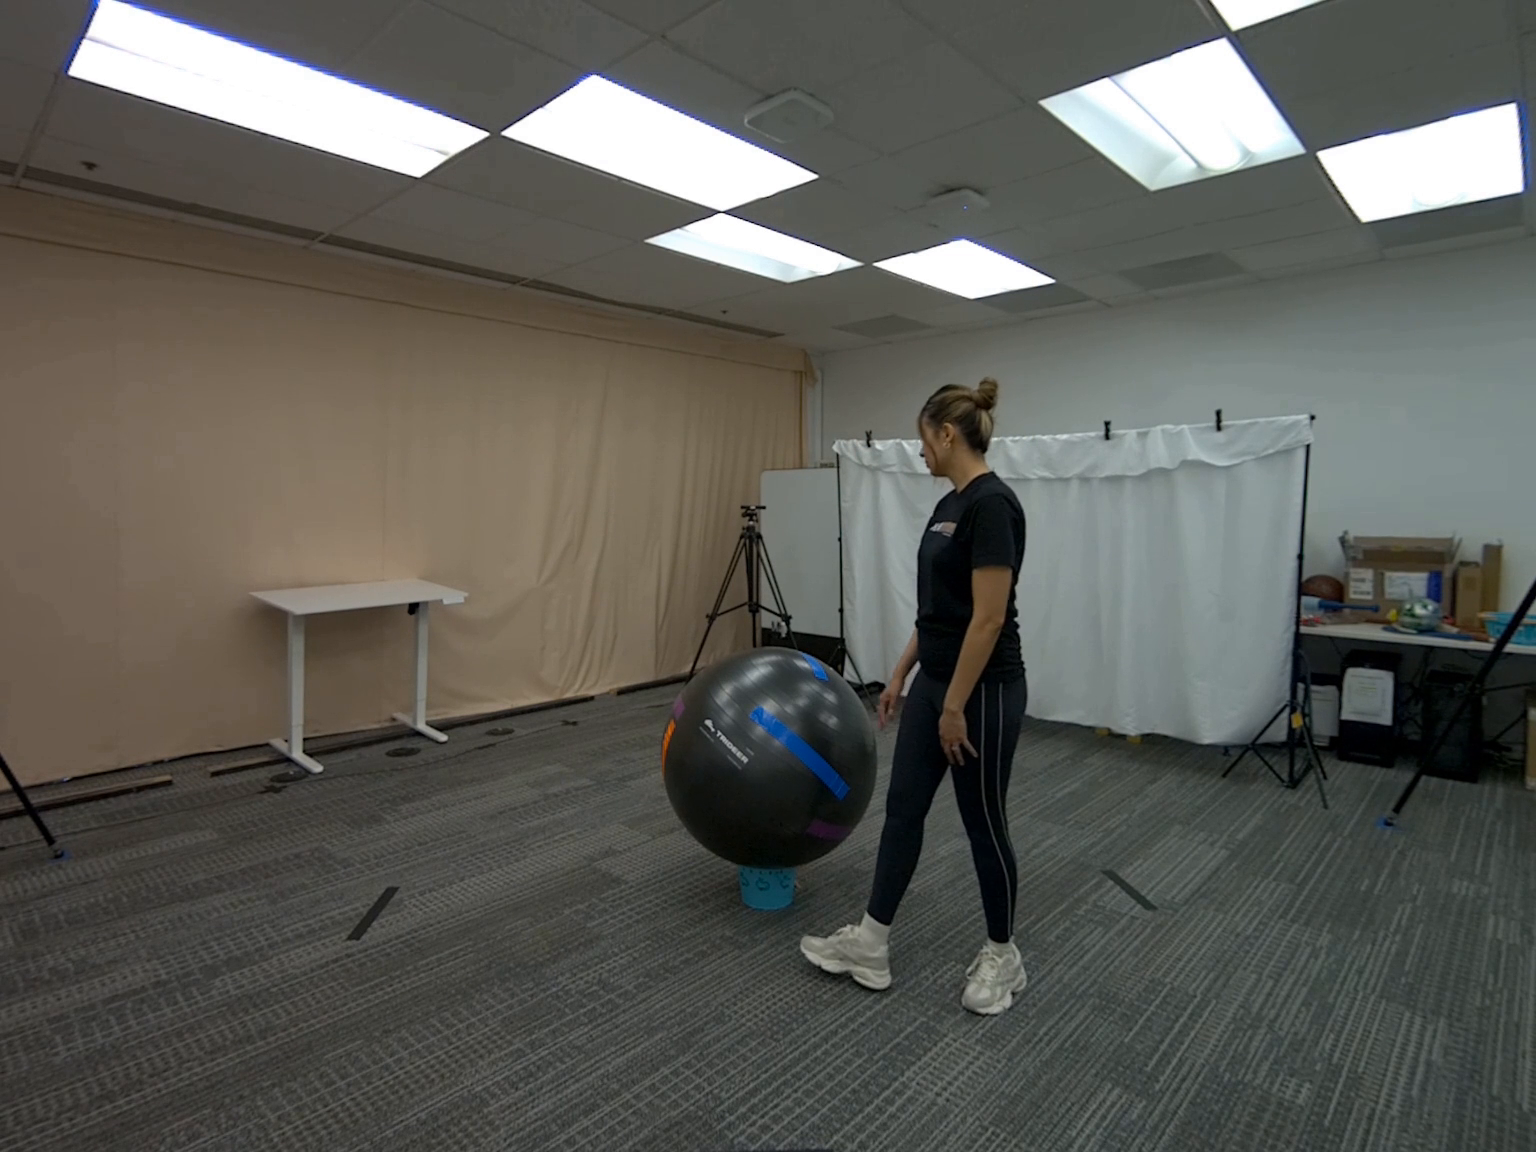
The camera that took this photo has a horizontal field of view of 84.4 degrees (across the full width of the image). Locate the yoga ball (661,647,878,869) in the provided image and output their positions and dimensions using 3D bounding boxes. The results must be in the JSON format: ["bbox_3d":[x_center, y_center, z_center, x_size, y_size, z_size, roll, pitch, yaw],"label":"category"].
[{"bbox_3d":[0.007,0.636,2.968,0.757,0.756,0.760,0,4,-2],"label":"yoga ball"}]
